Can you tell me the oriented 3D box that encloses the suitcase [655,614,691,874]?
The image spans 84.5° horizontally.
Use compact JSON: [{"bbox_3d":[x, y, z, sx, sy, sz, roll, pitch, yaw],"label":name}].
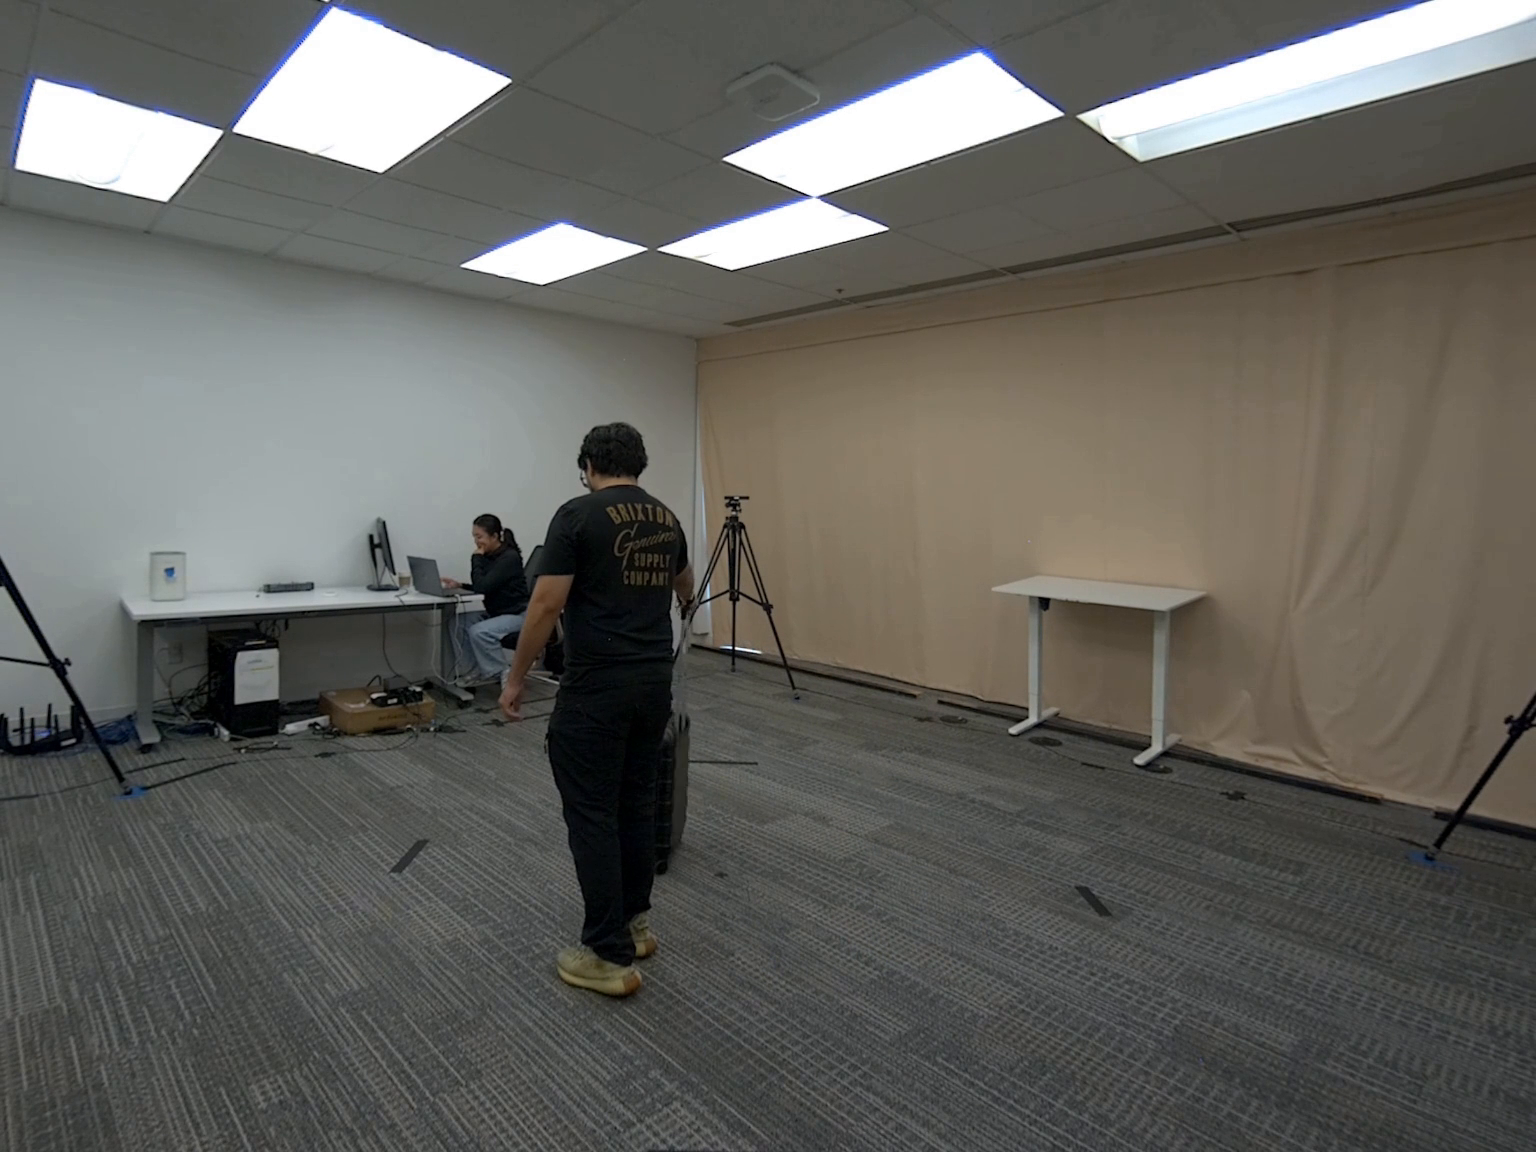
[{"bbox_3d":[-0.461,0.607,3.248,0.258,0.977,0.383,2,3,5],"label":"suitcase"}]
